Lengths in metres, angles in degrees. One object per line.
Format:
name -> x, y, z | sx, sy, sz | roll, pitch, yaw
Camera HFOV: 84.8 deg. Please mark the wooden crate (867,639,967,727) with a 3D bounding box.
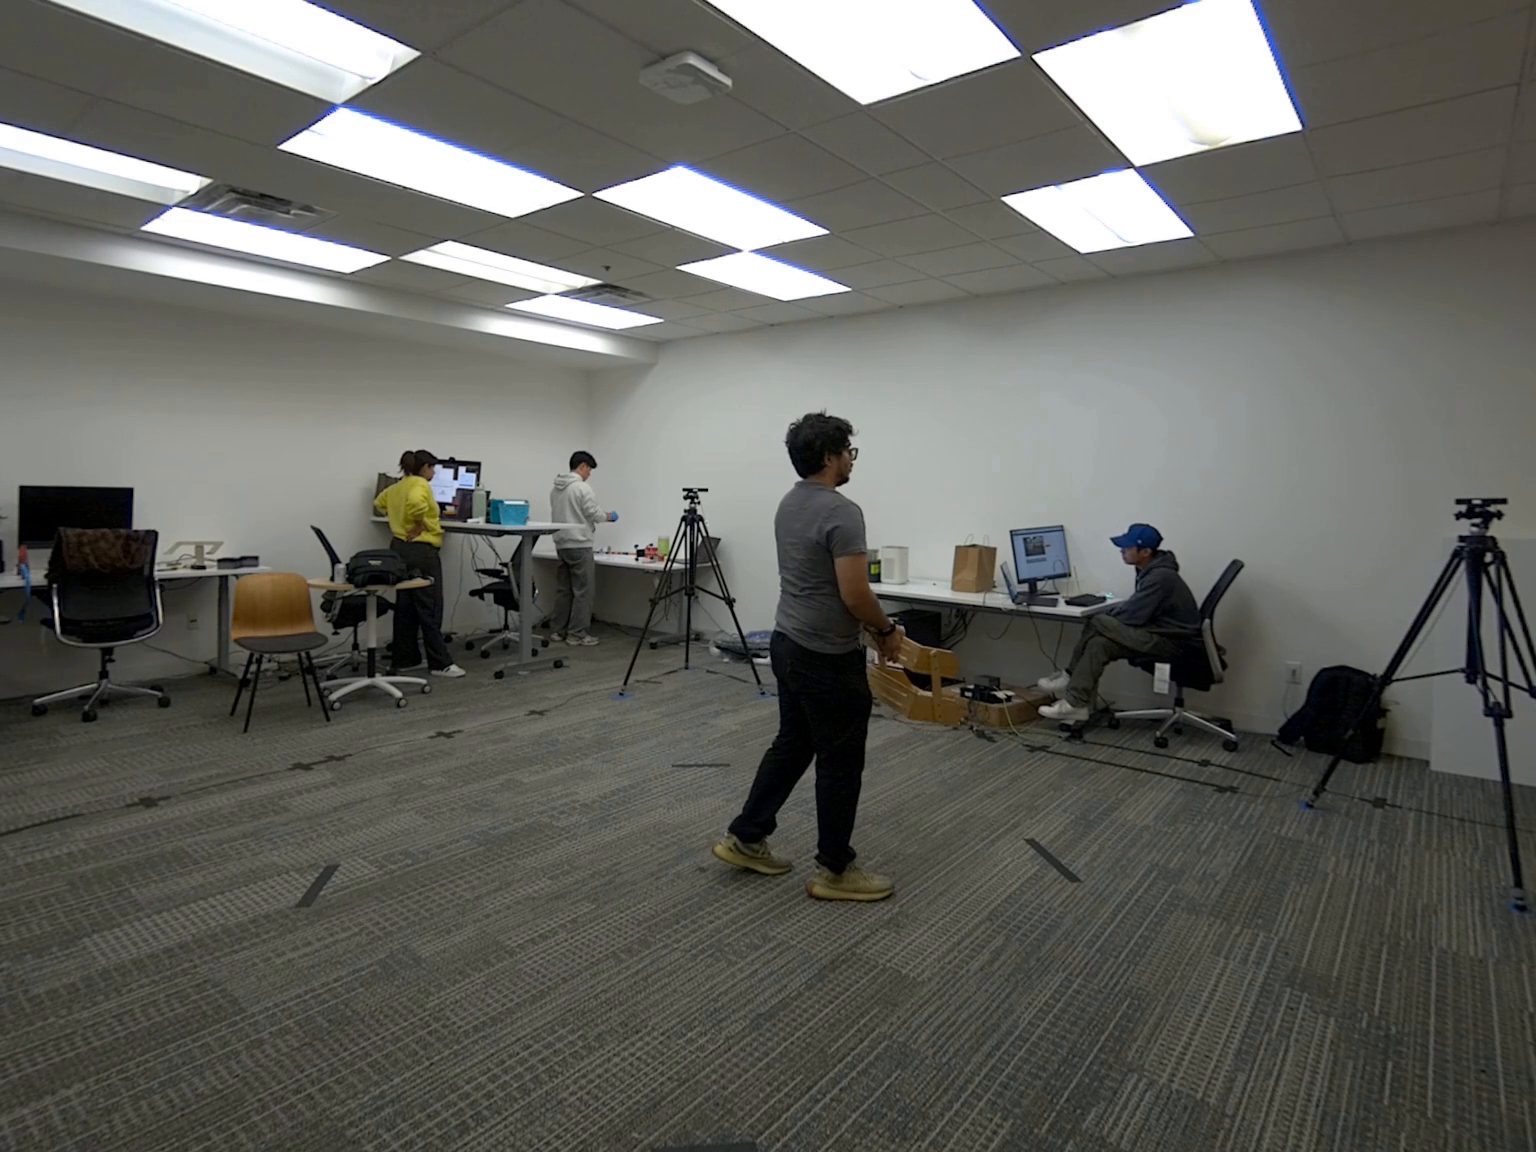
wooden crate -> 0.531, 0.348, 3.092 | 0.292, 0.272, 0.336 | 13, 7, -30
